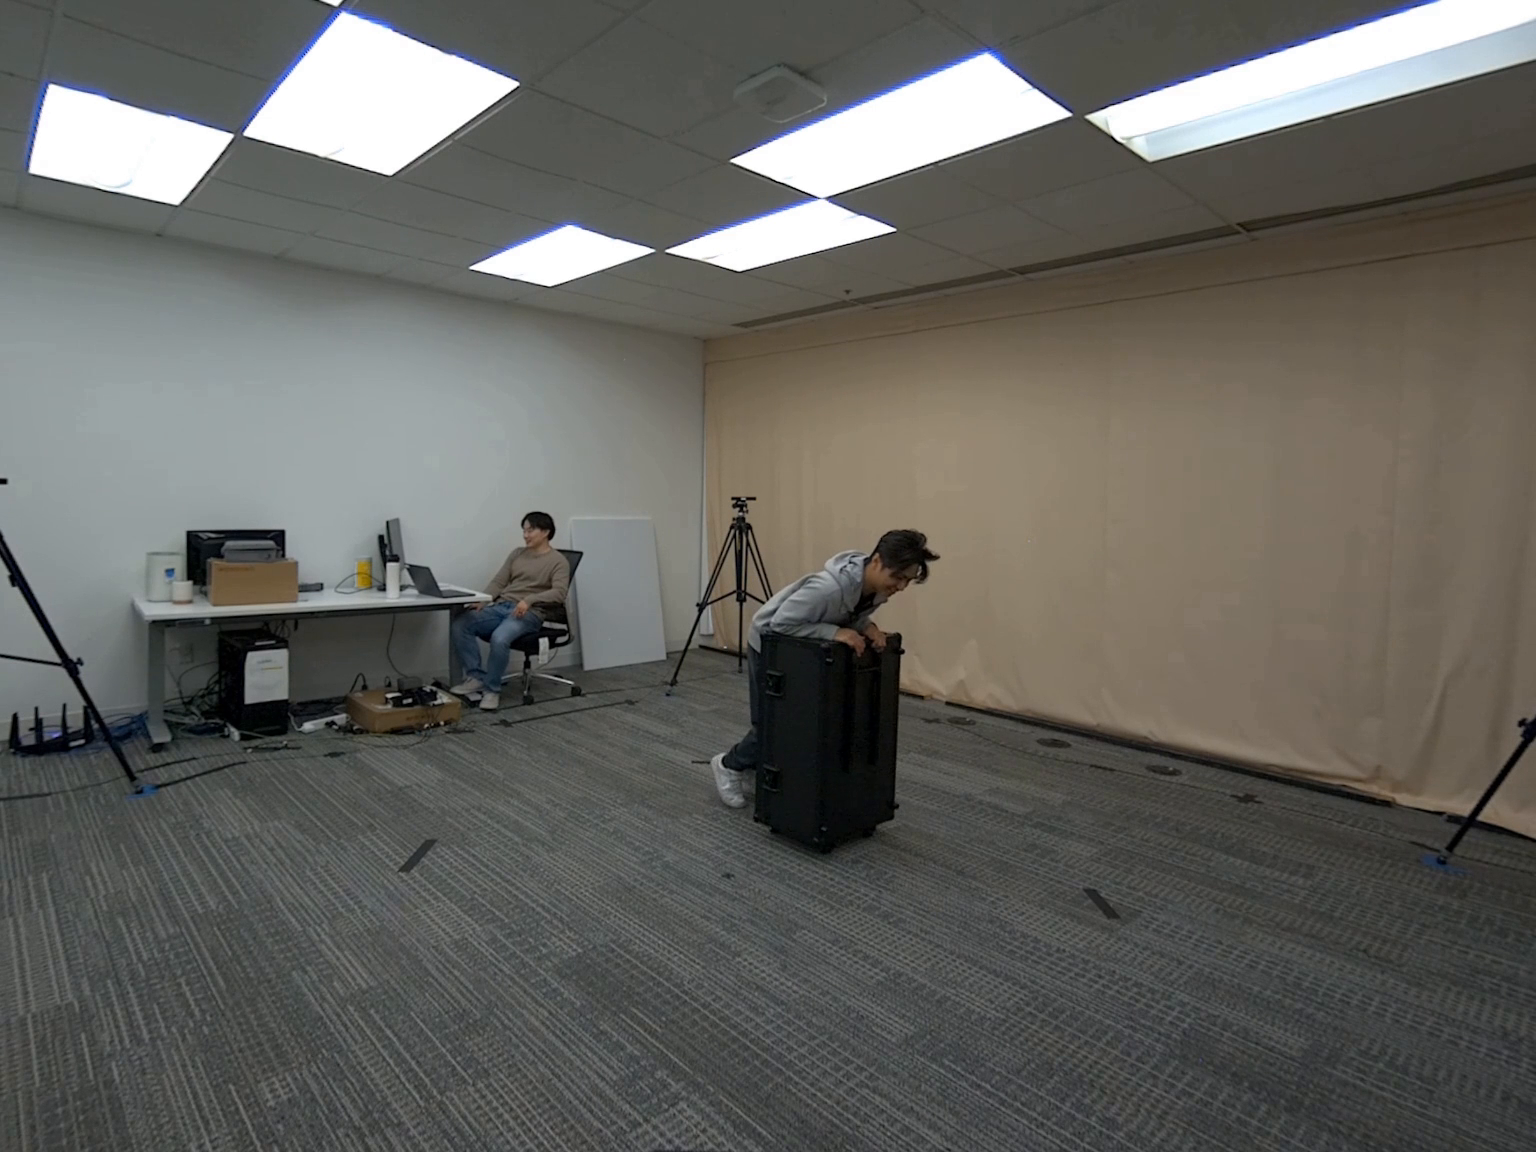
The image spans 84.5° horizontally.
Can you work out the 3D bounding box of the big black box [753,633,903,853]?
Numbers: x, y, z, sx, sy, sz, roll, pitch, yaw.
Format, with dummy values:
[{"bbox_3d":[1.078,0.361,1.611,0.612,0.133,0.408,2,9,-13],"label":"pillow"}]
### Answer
[{"bbox_3d":[0.255,0.665,3.475,0.509,0.859,0.406,-2,5,-44],"label":"big black box"}]
